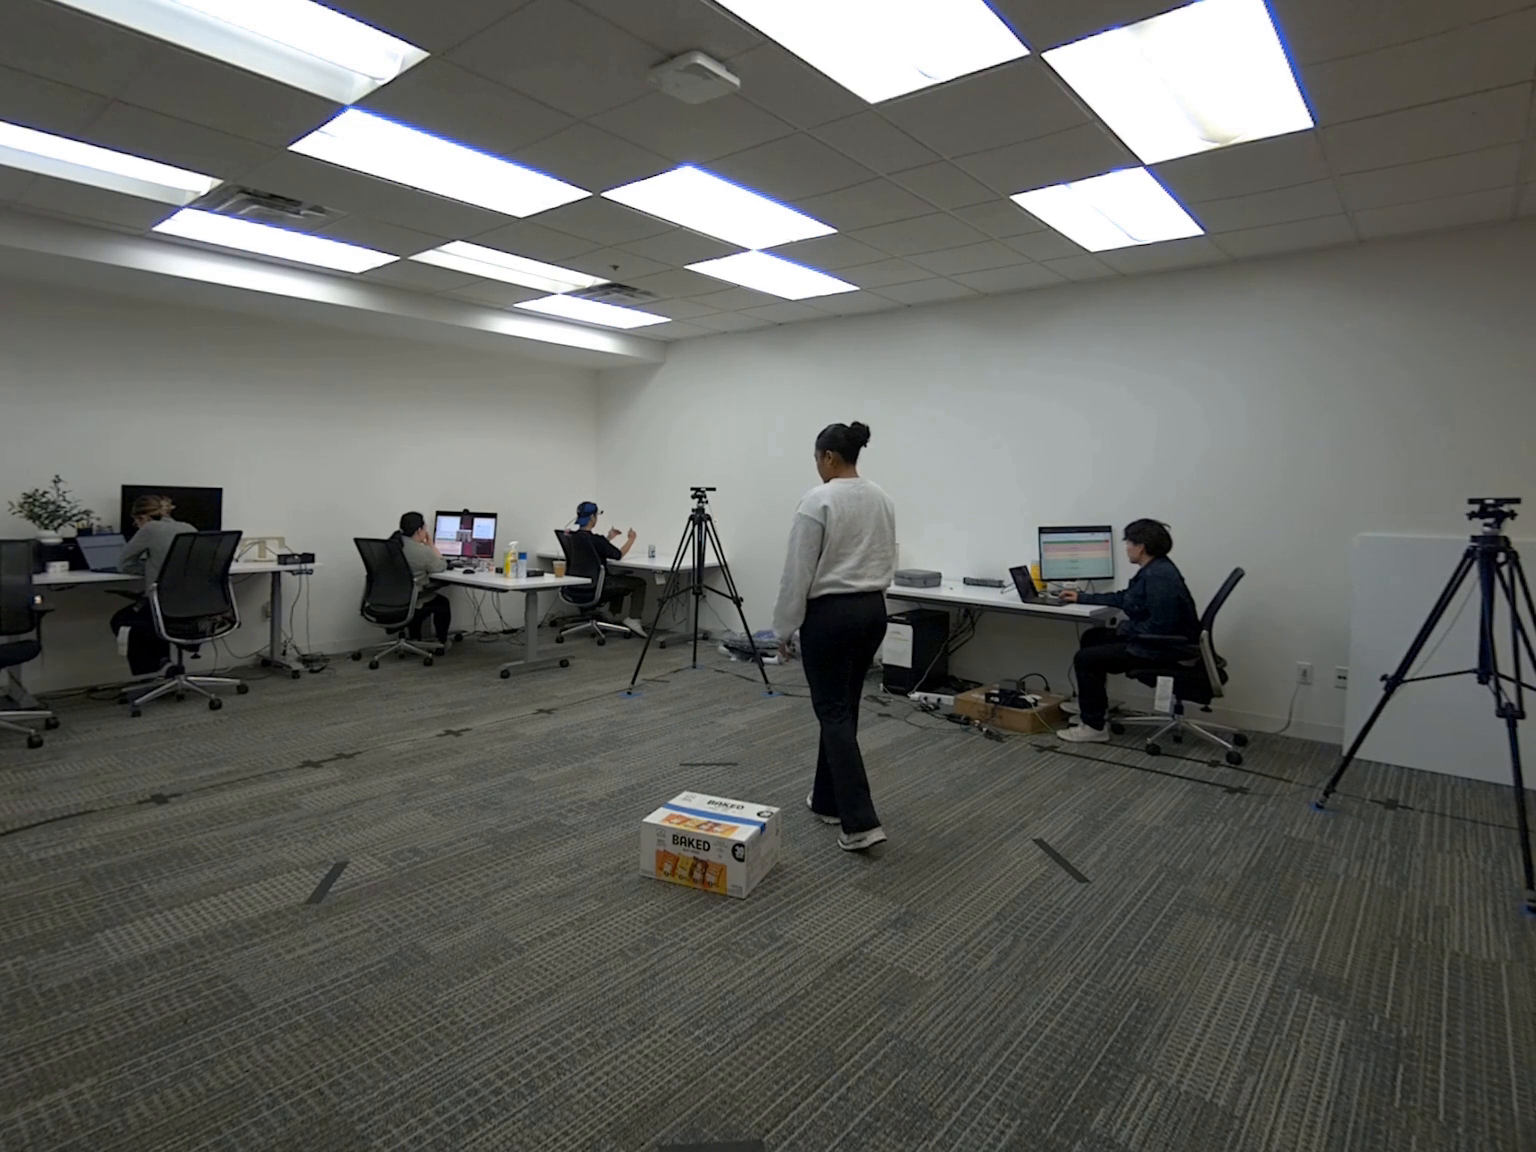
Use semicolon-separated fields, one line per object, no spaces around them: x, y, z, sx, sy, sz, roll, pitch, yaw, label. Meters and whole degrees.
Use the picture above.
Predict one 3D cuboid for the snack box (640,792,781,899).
-0.215;0.966;3.098;0.415;0.205;0.333;3;5;23;snack box
